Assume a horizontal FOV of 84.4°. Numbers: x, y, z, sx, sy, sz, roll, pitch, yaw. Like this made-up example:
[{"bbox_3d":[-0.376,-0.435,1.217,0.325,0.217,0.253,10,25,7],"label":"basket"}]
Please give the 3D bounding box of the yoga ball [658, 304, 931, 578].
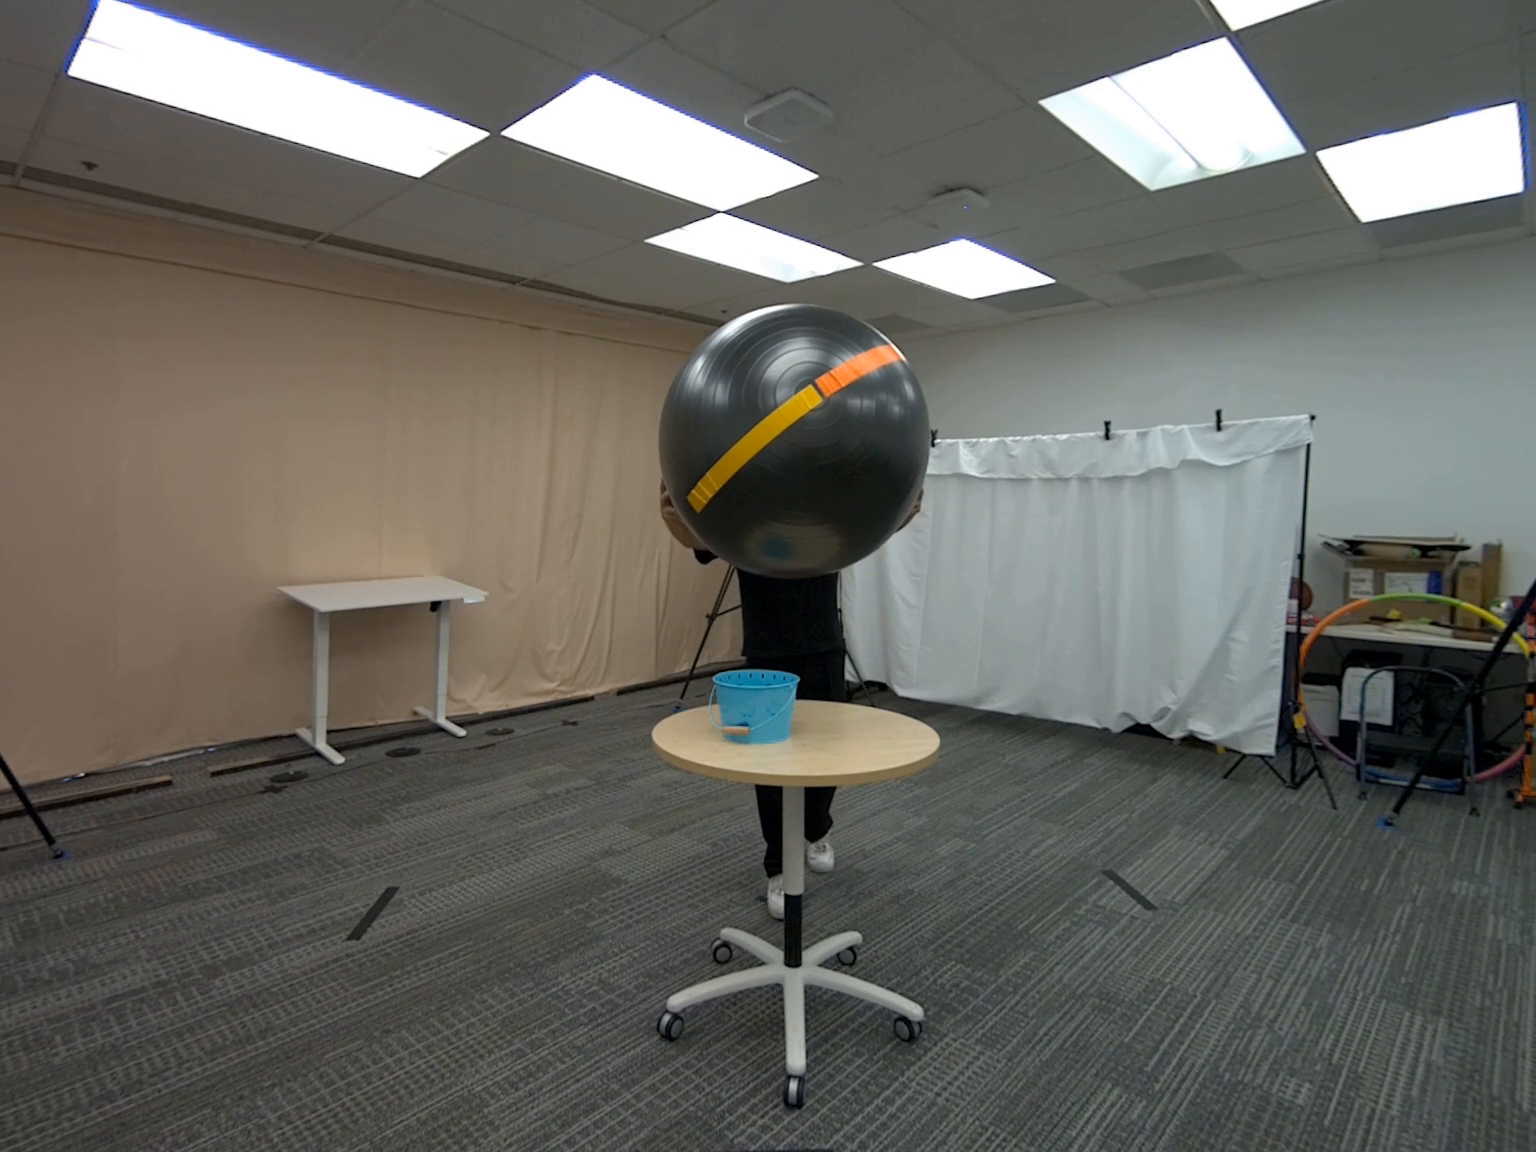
[{"bbox_3d":[0.072,-0.368,2.367,0.757,0.756,0.760,0,4,-2],"label":"yoga ball"}]
